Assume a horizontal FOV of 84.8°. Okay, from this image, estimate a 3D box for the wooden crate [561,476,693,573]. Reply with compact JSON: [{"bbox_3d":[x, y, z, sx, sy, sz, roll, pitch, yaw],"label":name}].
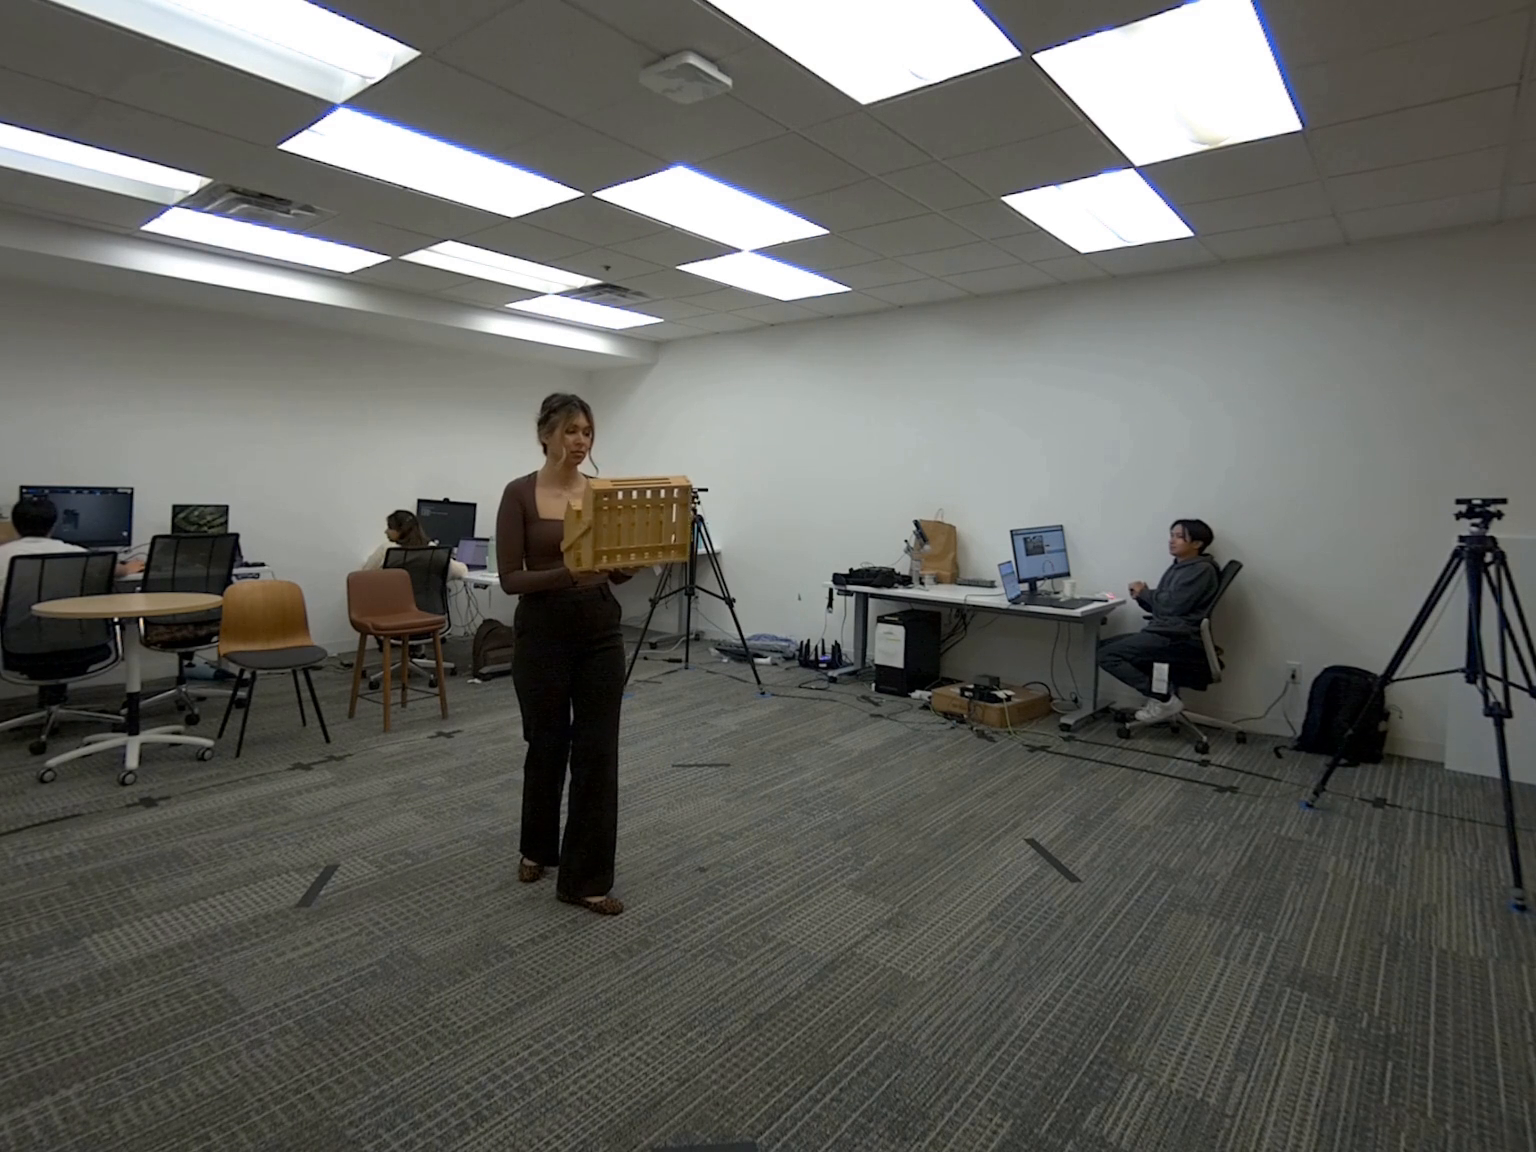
[{"bbox_3d":[-0.433,-0.165,2.532,0.317,0.298,0.283,-5,16,-28],"label":"wooden crate"}]
